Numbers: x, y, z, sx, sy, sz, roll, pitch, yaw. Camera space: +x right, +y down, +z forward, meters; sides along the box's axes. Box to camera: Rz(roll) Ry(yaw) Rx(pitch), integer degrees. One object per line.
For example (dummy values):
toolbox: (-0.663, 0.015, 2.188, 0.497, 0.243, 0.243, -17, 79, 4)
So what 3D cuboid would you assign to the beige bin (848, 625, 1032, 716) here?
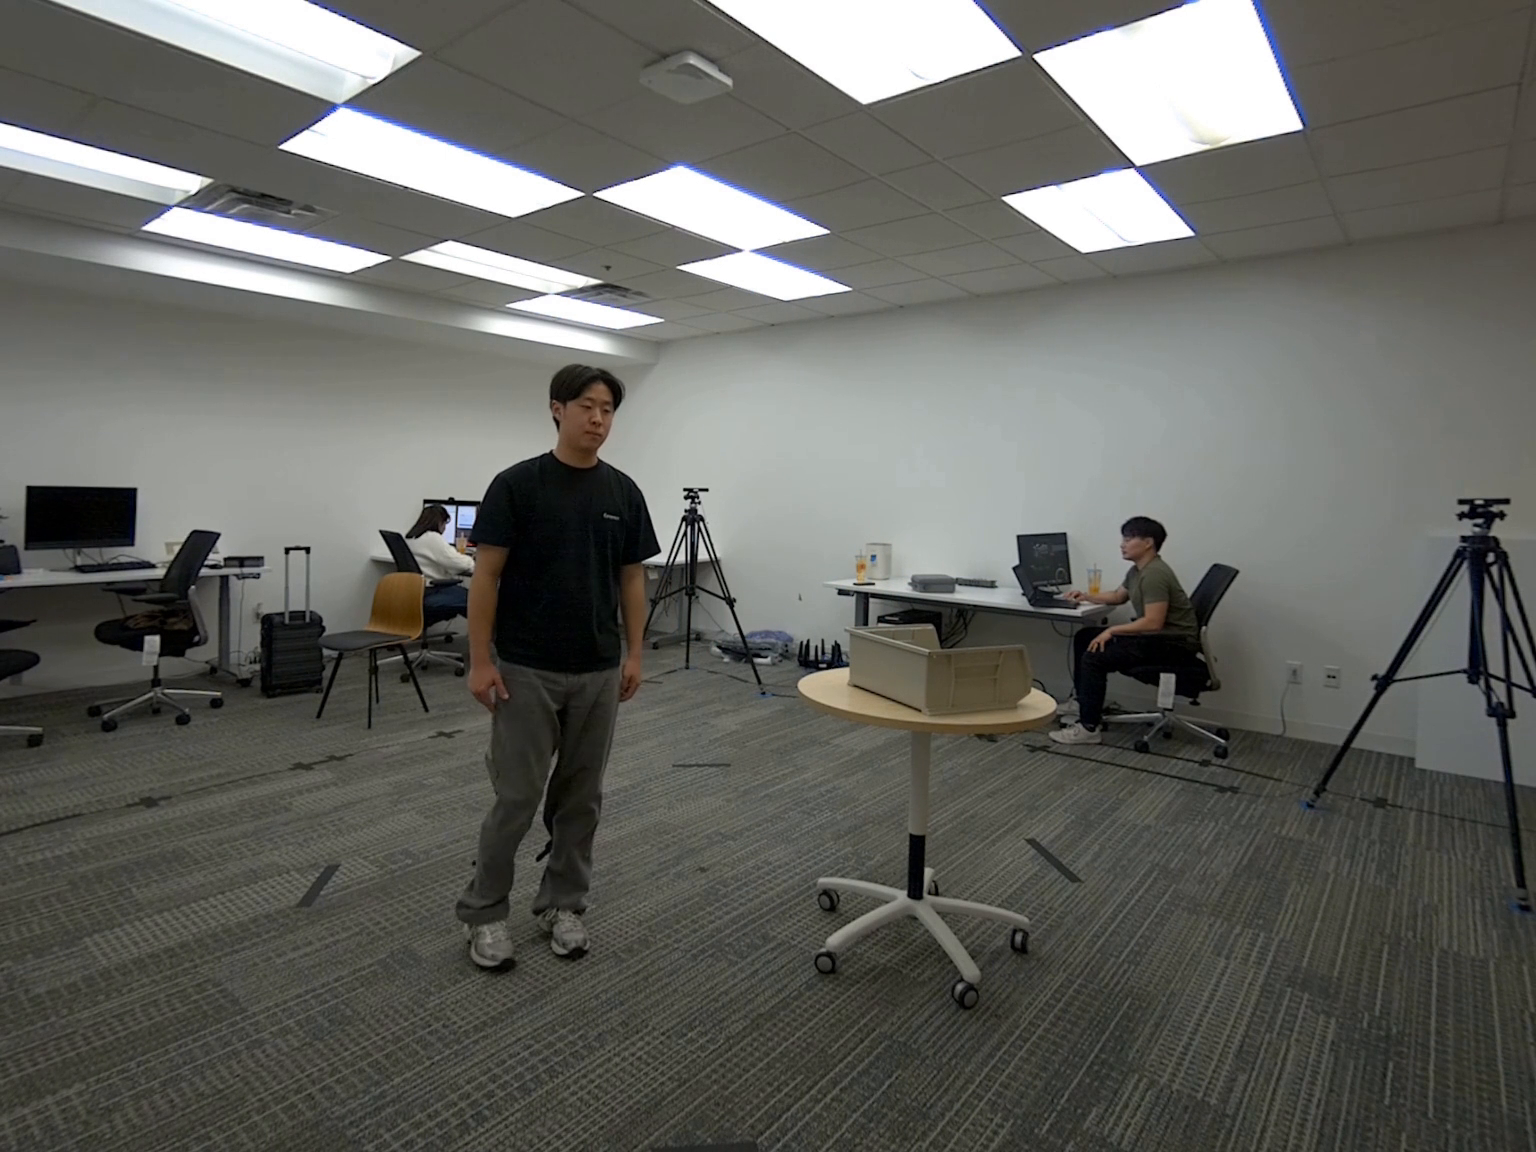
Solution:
beige bin: (0.493, 0.269, 2.549, 0.368, 0.188, 0.434, -2, 6, -25)
